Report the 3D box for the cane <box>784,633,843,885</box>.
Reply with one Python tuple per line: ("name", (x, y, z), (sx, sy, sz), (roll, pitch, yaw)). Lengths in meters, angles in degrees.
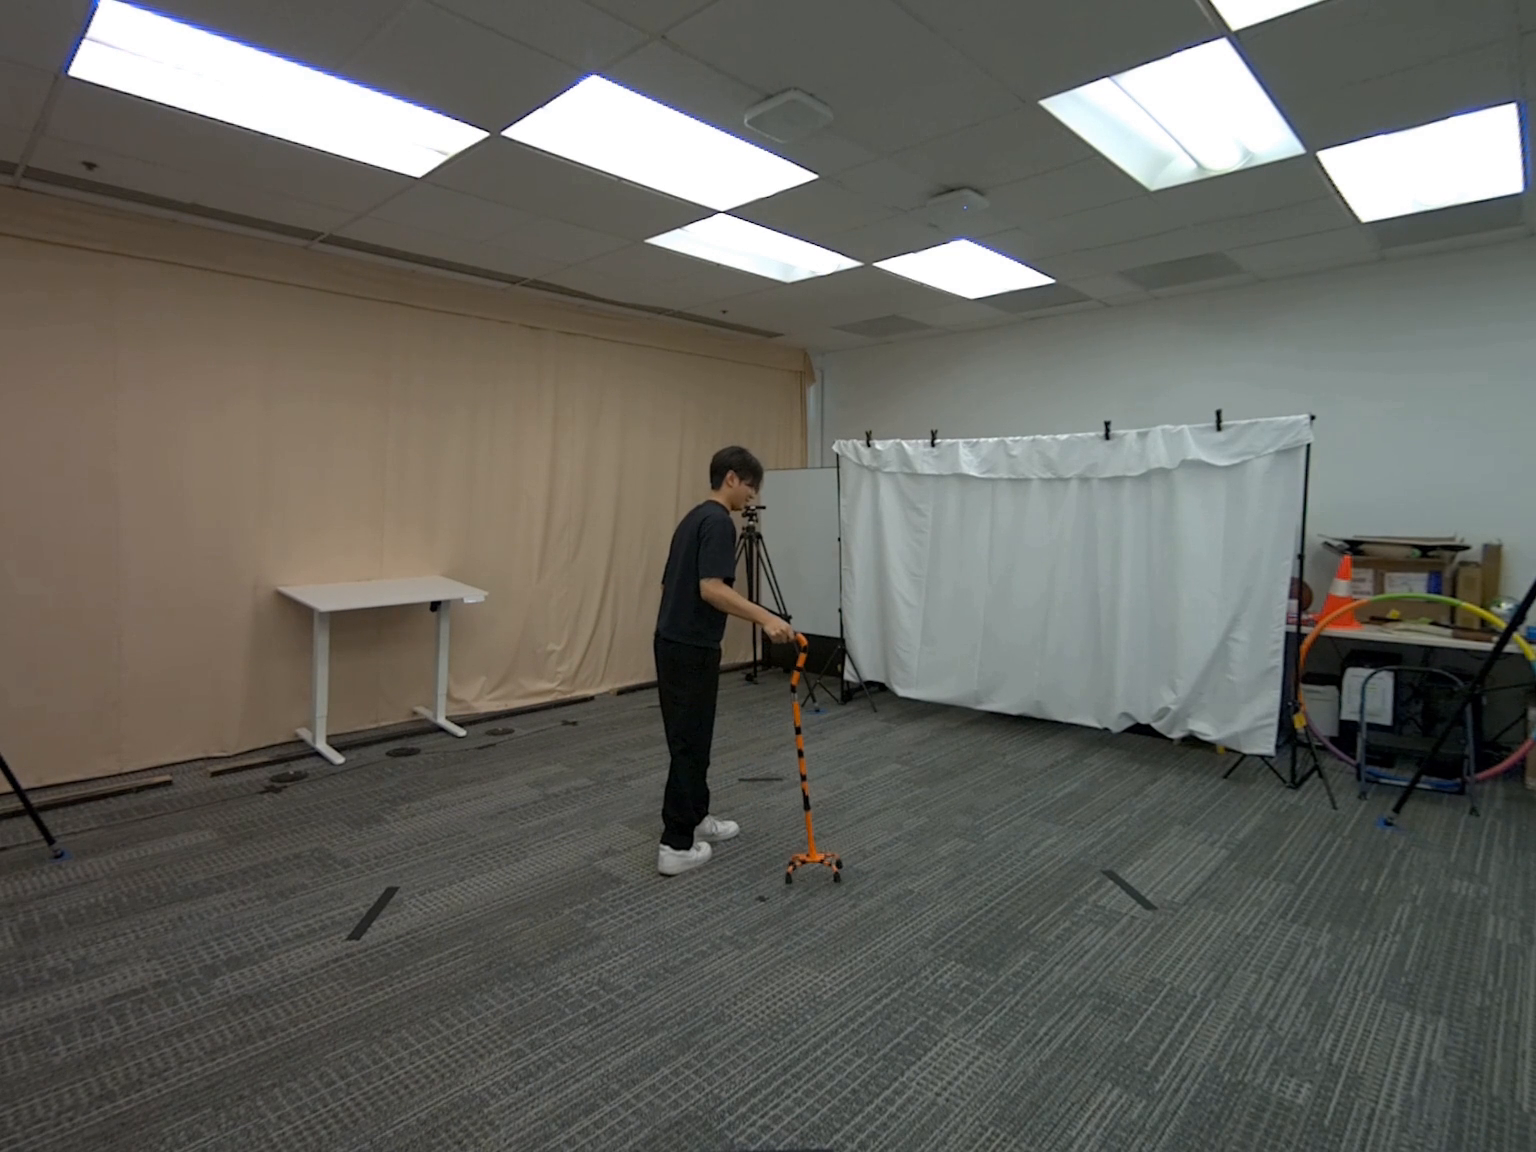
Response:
("cane", (0.120, 0.662, 3.093), (0.208, 0.907, 0.150), (-6, 1, 7))
